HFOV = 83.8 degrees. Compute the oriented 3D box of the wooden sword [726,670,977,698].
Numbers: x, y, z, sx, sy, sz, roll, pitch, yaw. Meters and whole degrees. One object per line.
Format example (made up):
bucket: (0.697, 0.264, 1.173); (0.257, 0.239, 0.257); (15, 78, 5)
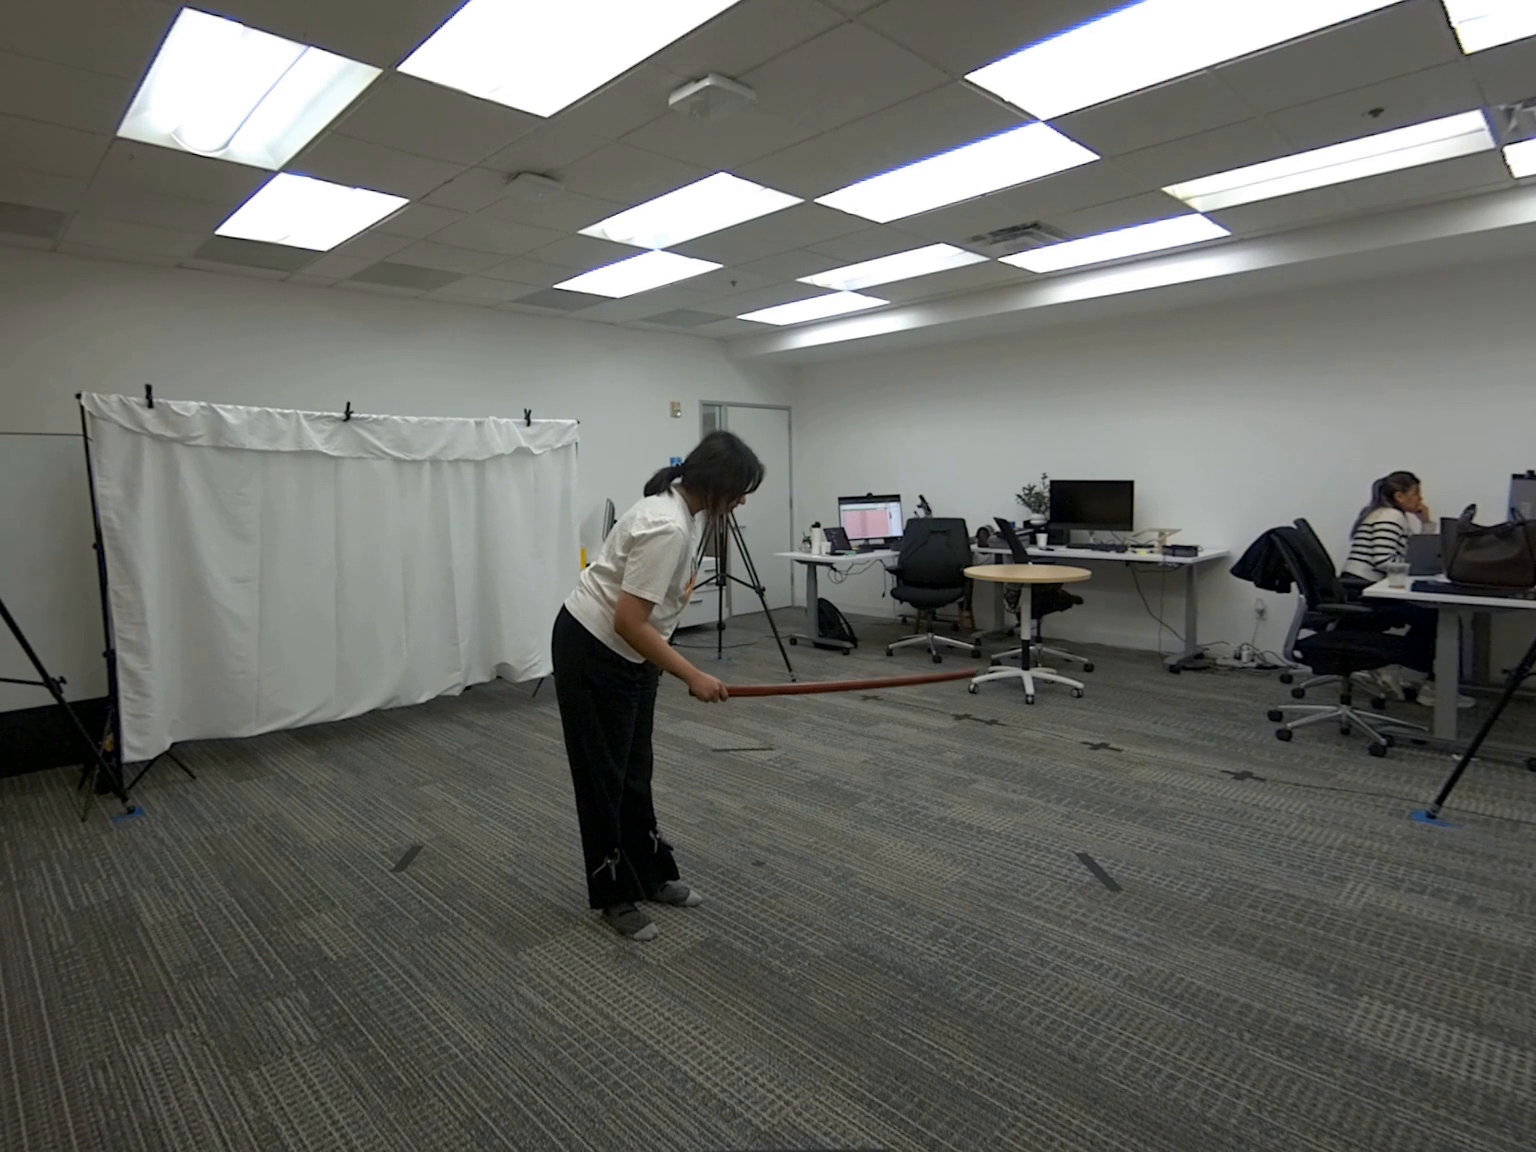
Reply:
wooden sword: (0.217, 0.363, 2.731); (1.009, 0.052, 0.024); (0, -17, -16)
